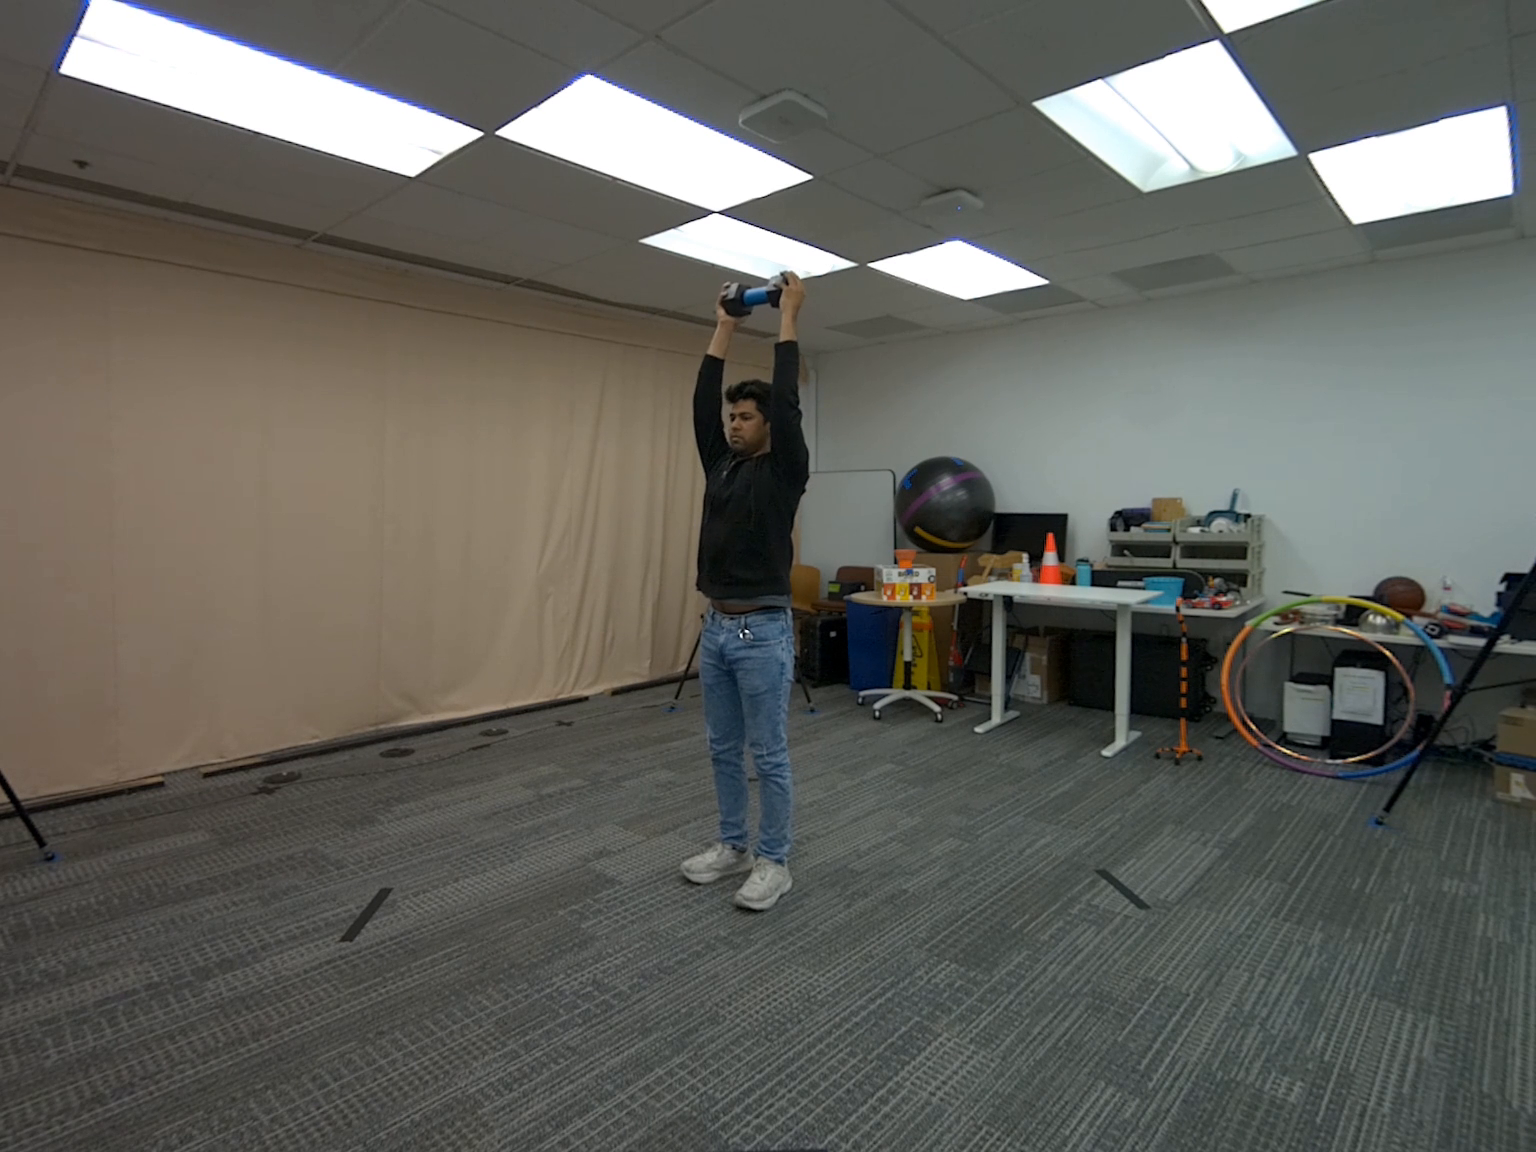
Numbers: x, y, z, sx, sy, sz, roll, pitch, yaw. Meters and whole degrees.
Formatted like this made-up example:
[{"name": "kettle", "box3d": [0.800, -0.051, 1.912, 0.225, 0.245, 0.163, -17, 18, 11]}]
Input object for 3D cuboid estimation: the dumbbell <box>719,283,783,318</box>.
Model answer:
[{"name": "dumbbell", "box3d": [-0.025, -0.996, 3.002, 0.304, 0.108, 0.119, 7, 12, 44]}]
